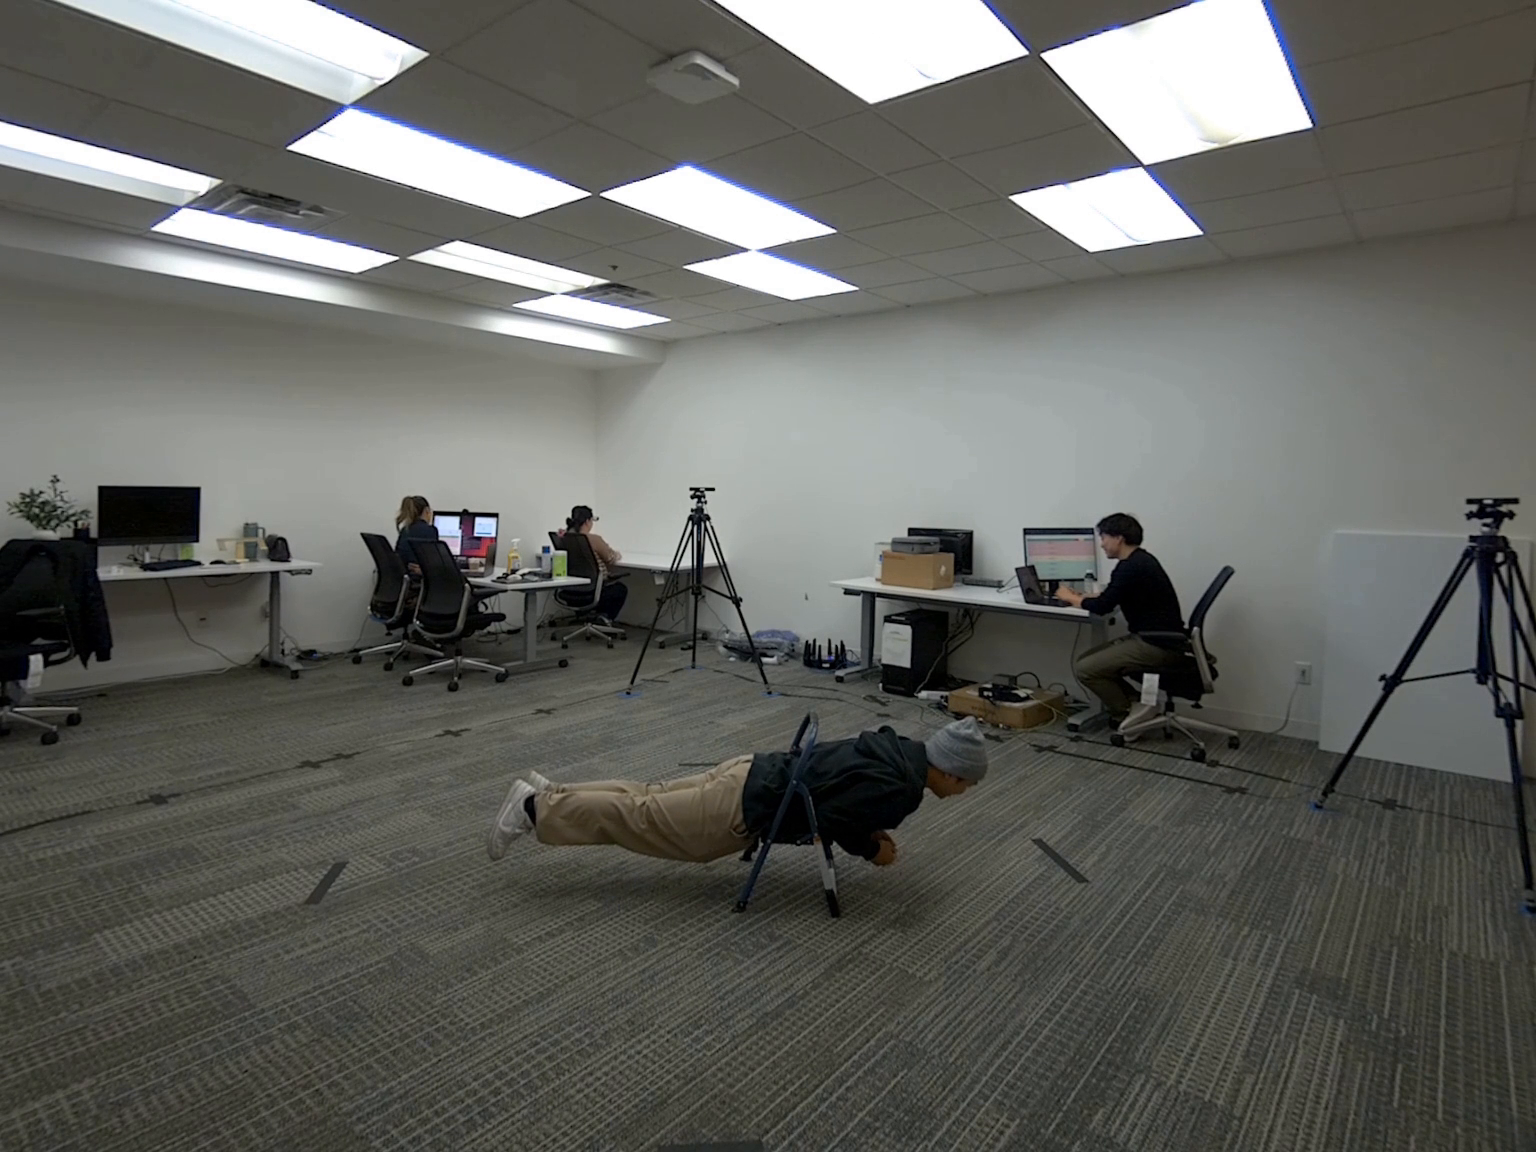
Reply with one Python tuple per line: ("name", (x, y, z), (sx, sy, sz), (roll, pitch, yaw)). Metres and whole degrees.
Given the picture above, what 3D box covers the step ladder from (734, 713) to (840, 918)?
("step ladder", (0.072, 0.788, 2.969), (0.350, 0.604, 0.431), (3, 4, 2))
